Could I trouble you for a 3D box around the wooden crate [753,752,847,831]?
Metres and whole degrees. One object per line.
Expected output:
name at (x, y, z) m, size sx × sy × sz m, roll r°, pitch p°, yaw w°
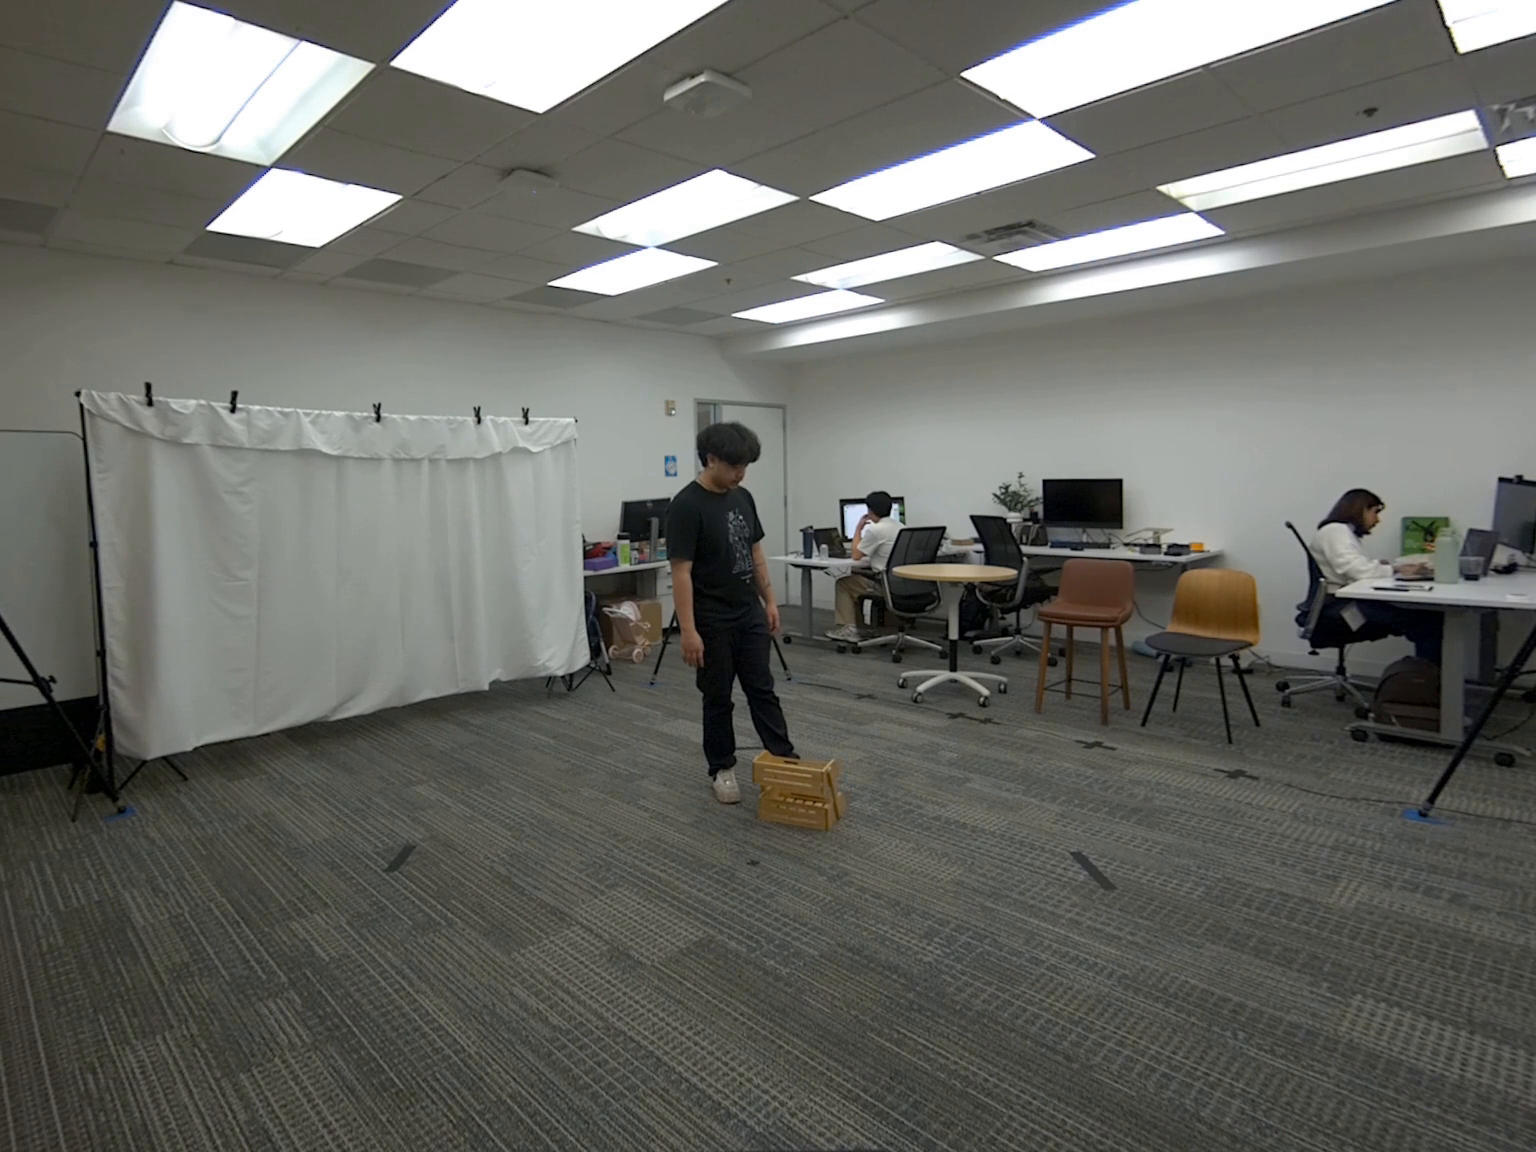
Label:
wooden crate at (0.136, 0.862, 3.522) m, size 0.332 × 0.272 × 0.297 m, roll 1°, pitch 6°, yaw 24°
